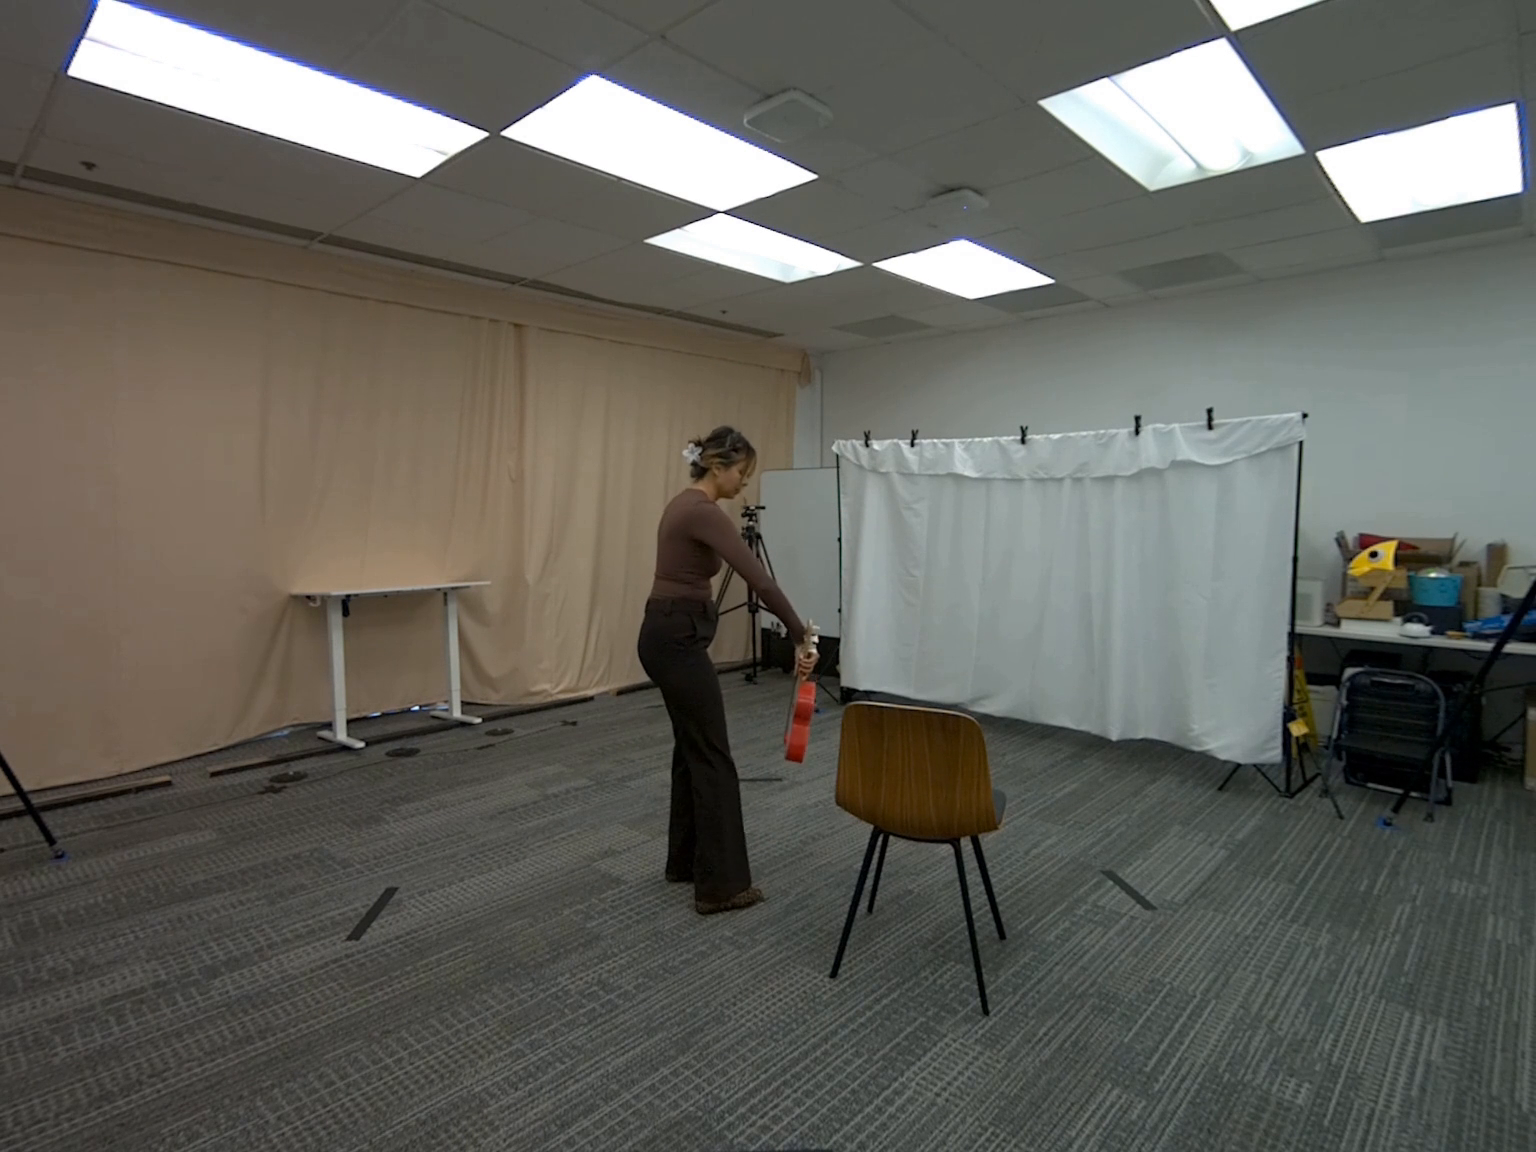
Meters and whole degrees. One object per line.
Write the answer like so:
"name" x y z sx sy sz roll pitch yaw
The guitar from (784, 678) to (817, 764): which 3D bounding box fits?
"guitar" 0.128 0.403 2.843 0.070 0.493 0.195 7 22 -5
